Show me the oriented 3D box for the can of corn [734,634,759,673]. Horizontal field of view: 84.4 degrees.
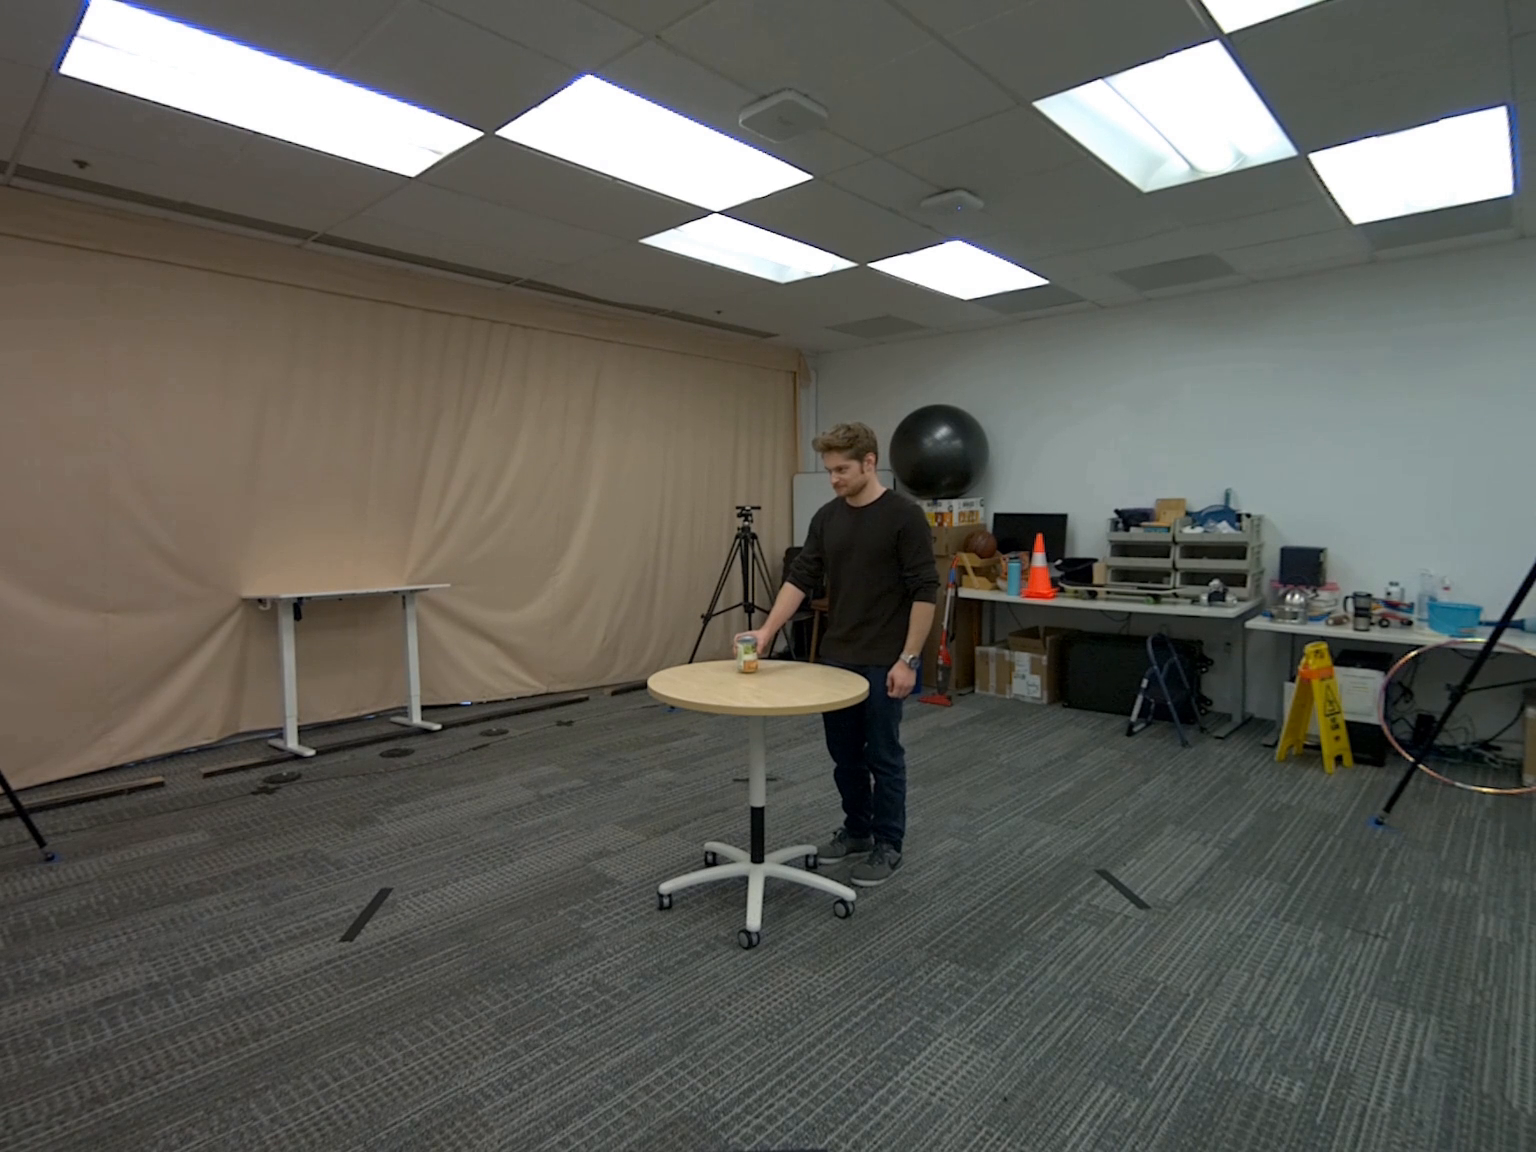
[{"bbox_3d":[-0.072,0.288,3.059,0.074,0.110,0.075,0,9,-2],"label":"can of corn"}]
